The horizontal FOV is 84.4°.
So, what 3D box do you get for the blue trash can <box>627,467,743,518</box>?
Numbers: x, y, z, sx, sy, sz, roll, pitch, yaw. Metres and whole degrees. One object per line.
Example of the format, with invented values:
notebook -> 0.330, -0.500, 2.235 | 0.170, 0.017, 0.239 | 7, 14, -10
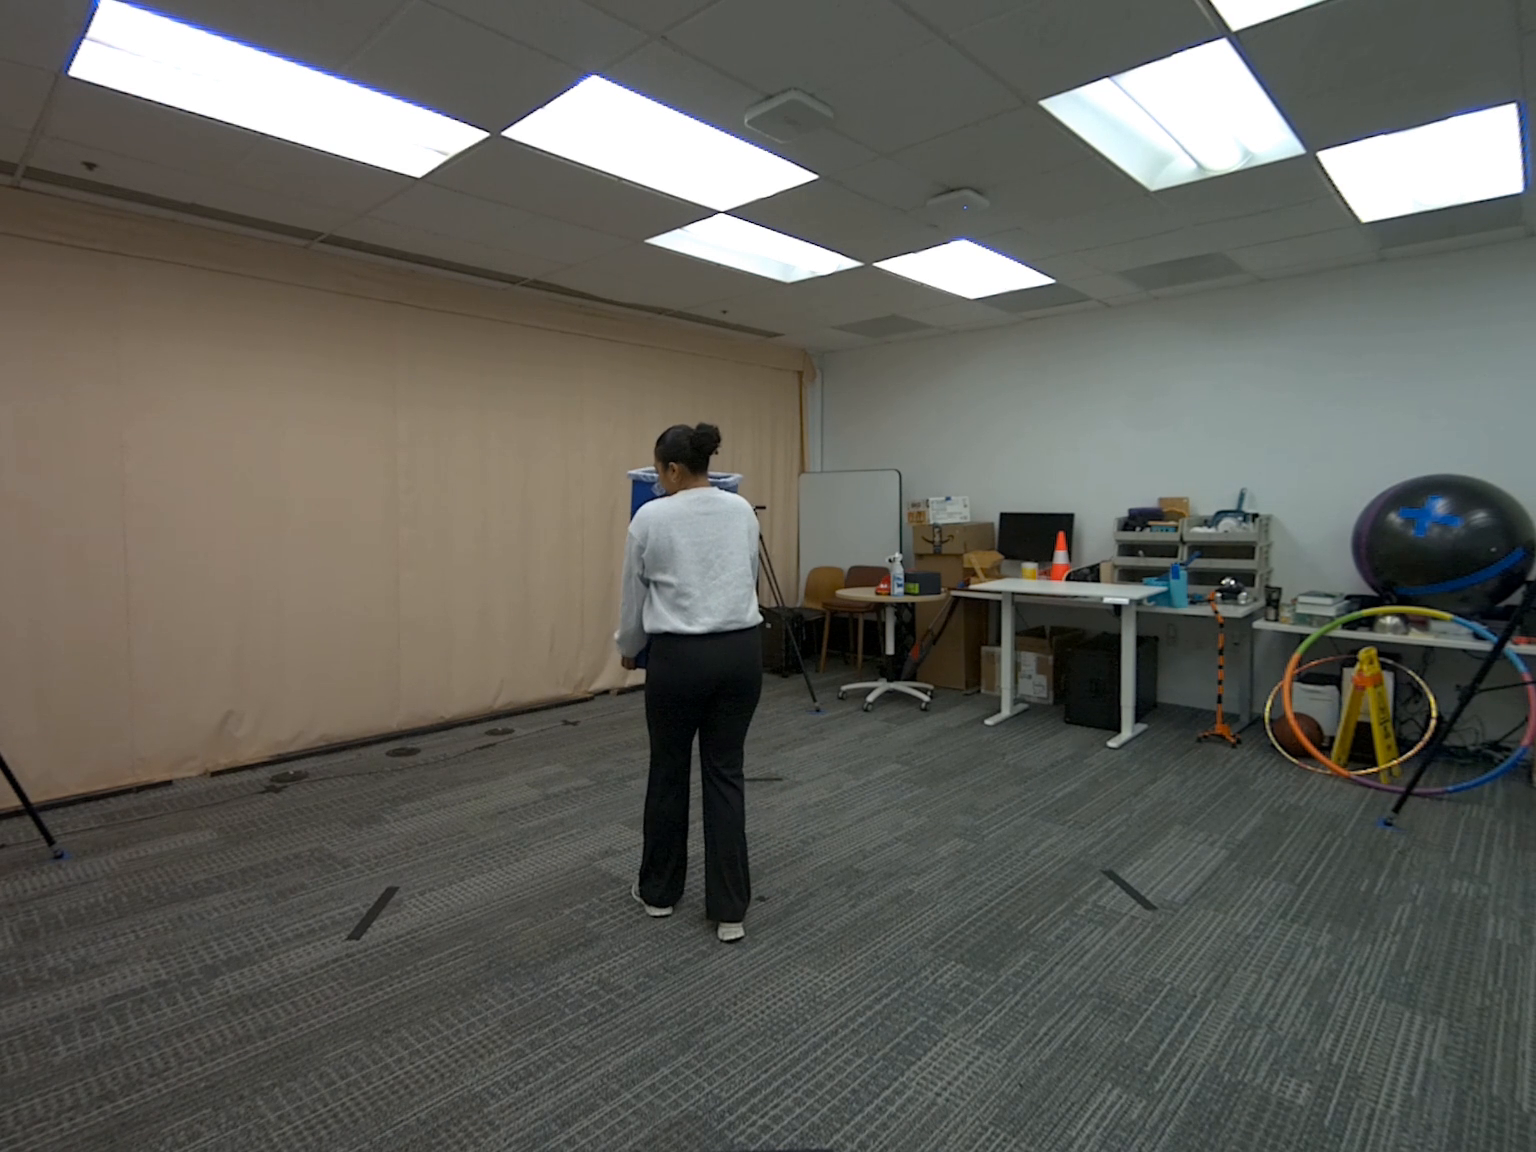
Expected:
blue trash can -> -0.317, -0.032, 3.143 | 0.378, 0.710, 0.376 | 5, 9, 9
